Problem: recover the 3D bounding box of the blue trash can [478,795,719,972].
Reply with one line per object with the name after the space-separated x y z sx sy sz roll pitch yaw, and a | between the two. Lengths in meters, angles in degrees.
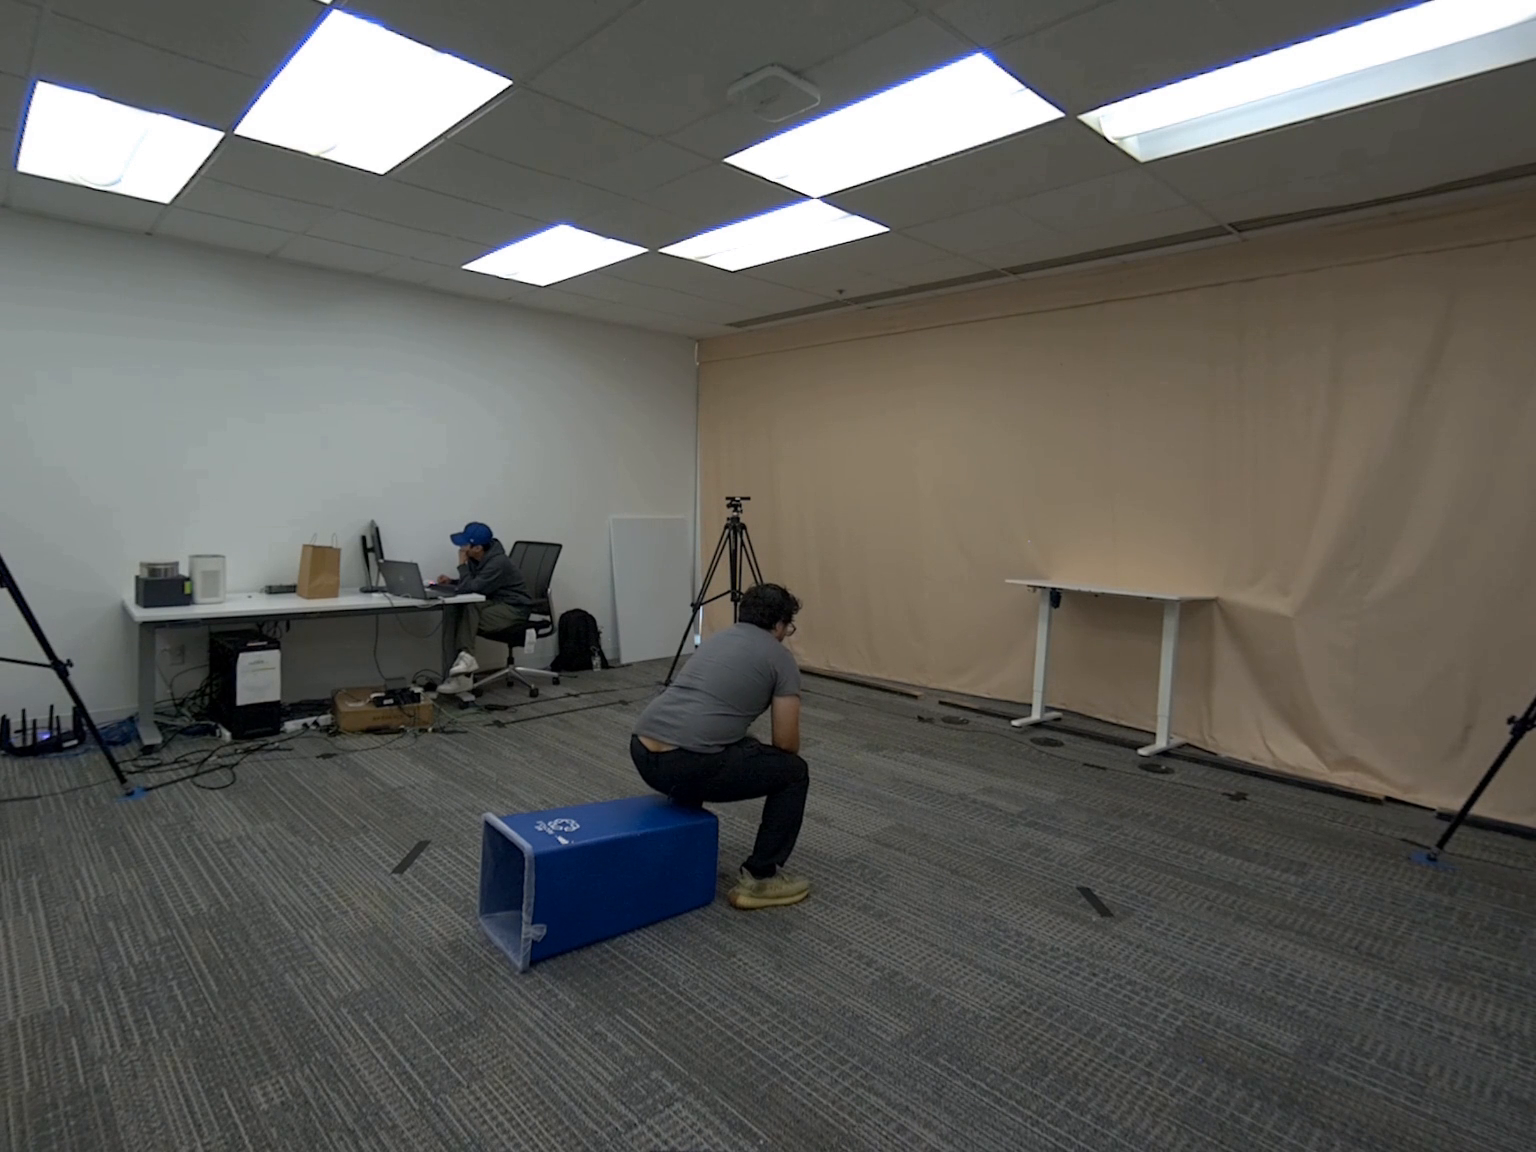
-0.551 0.949 2.777 0.697 0.373 0.387 -1 4 -38 | blue trash can
